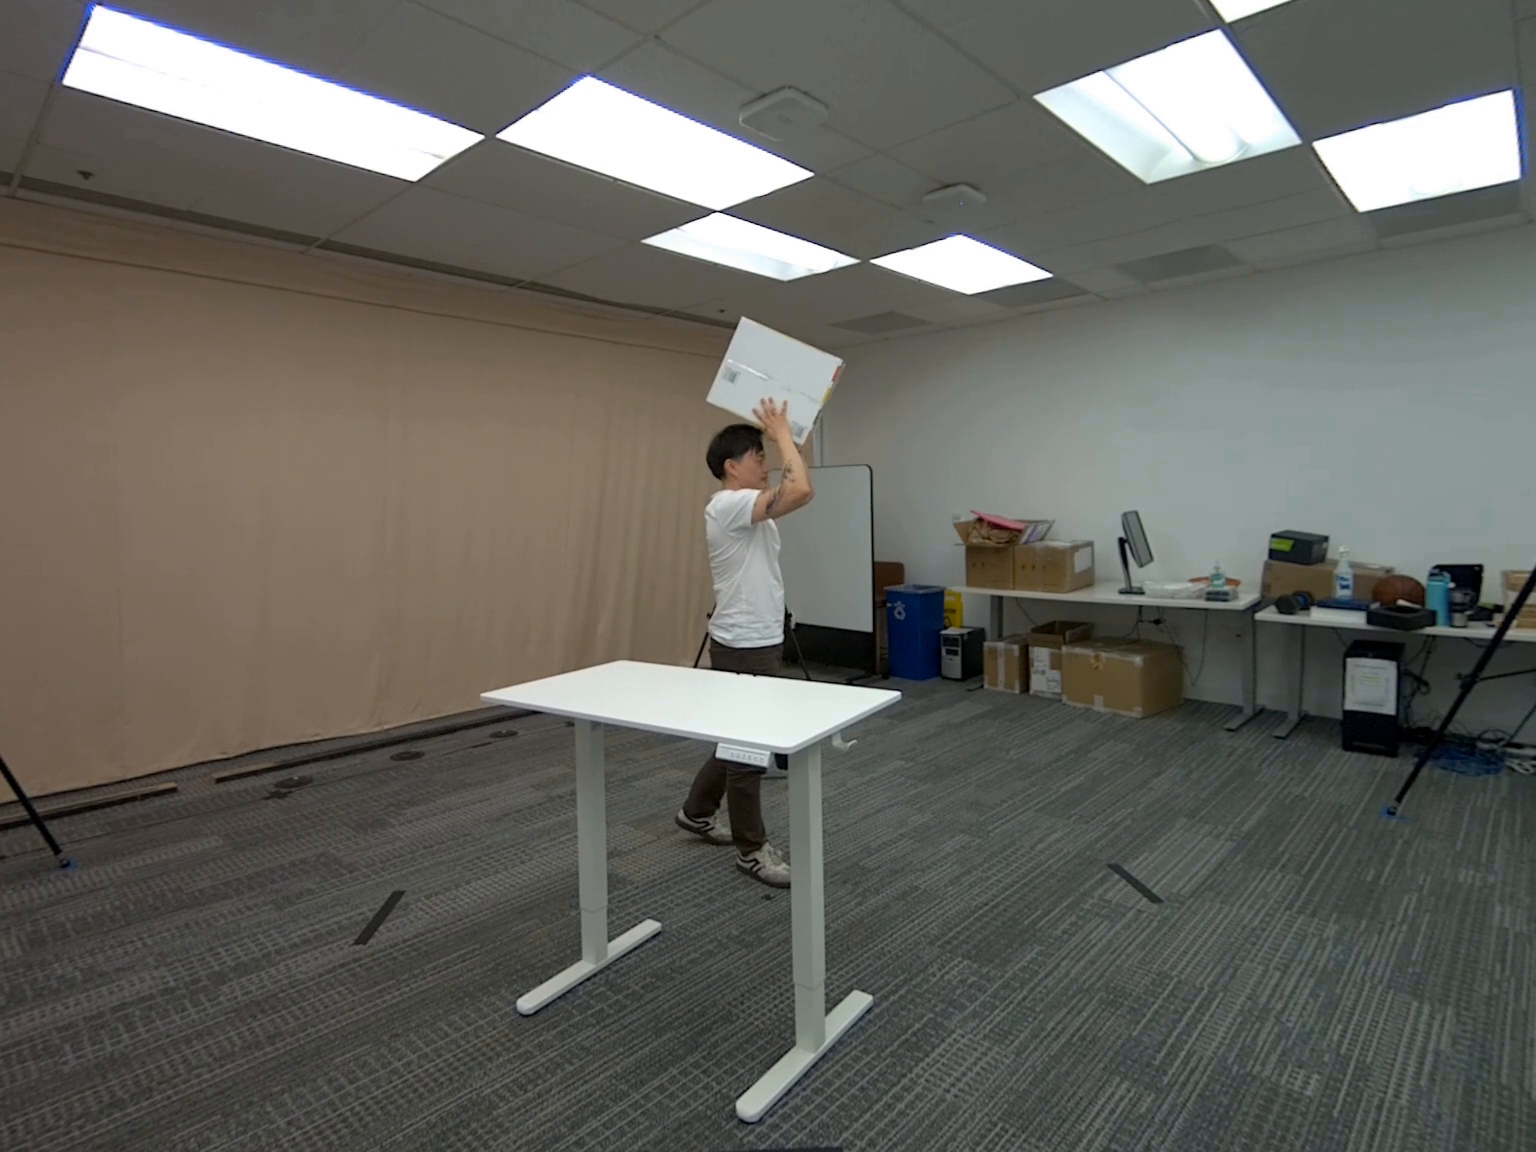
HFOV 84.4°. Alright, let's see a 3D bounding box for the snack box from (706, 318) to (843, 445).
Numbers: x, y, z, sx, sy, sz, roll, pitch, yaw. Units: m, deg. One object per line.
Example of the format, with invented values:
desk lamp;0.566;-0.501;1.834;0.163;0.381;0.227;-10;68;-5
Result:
snack box;0.034;-0.721;3.164;0.409;0.340;0.204;26;10;7
